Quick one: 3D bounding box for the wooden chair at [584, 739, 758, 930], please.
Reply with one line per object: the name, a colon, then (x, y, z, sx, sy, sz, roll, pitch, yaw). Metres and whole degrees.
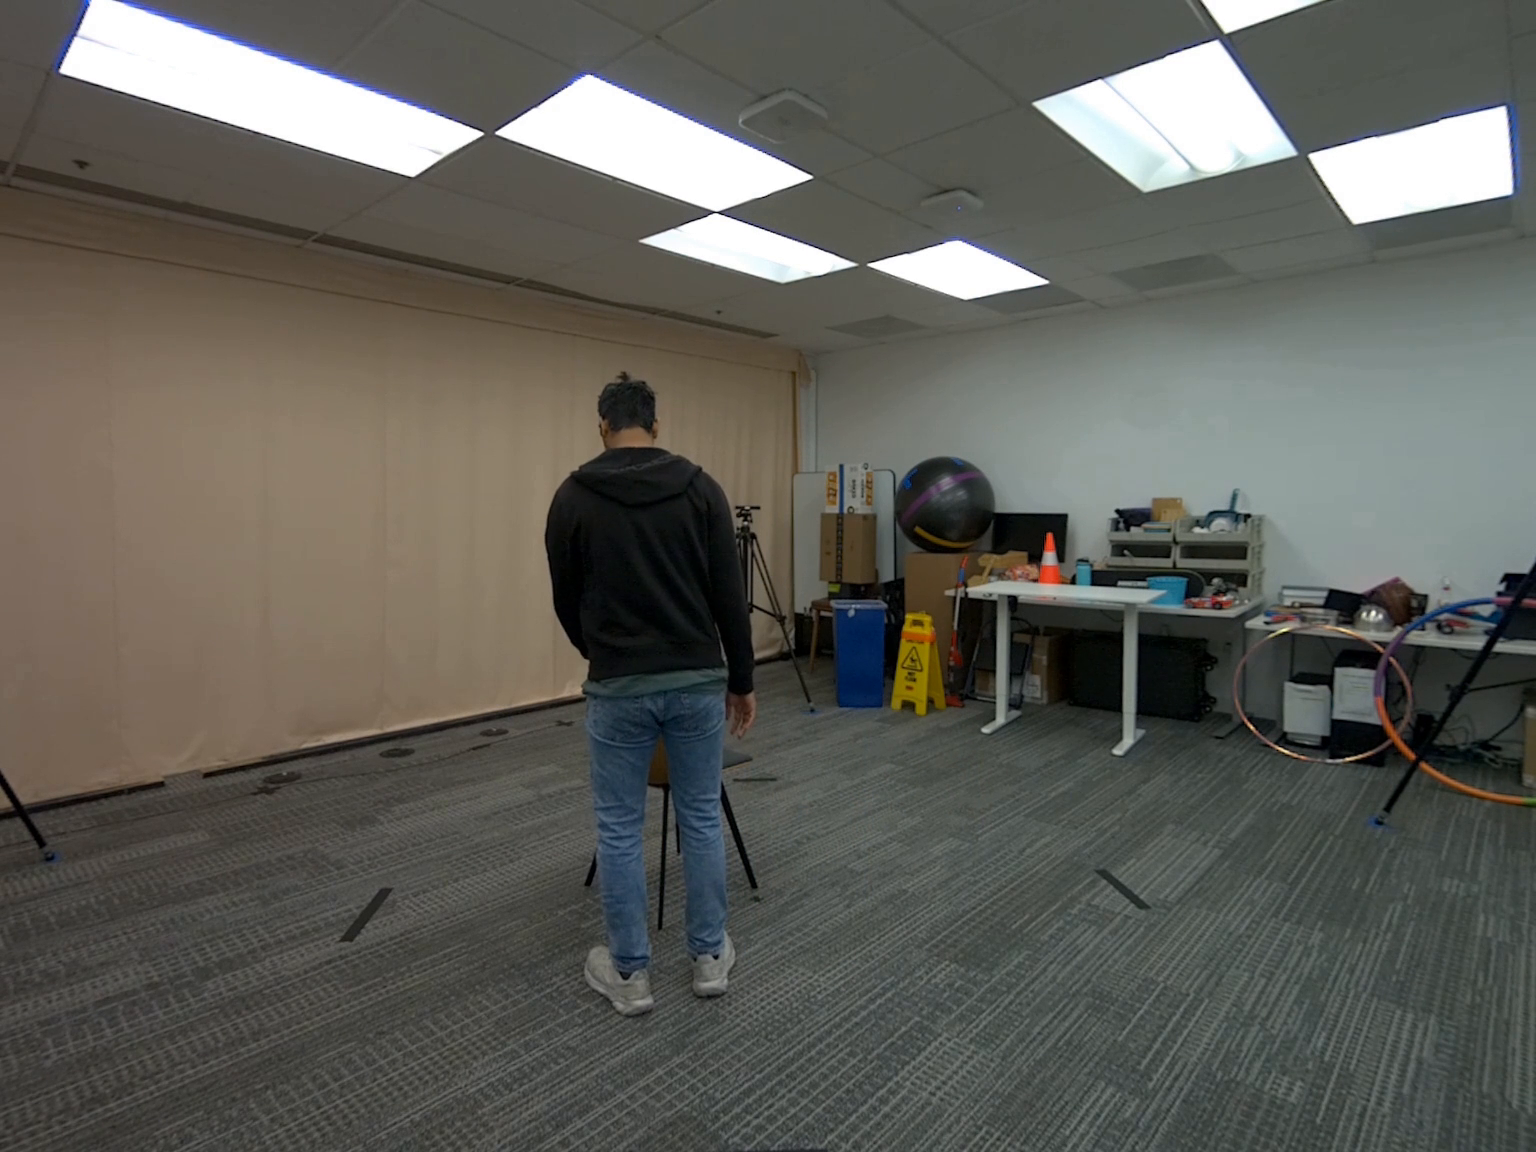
wooden chair: (-0.353, 0.714, 3.054, 0.508, 0.874, 0.494, -9, 8, -43)
